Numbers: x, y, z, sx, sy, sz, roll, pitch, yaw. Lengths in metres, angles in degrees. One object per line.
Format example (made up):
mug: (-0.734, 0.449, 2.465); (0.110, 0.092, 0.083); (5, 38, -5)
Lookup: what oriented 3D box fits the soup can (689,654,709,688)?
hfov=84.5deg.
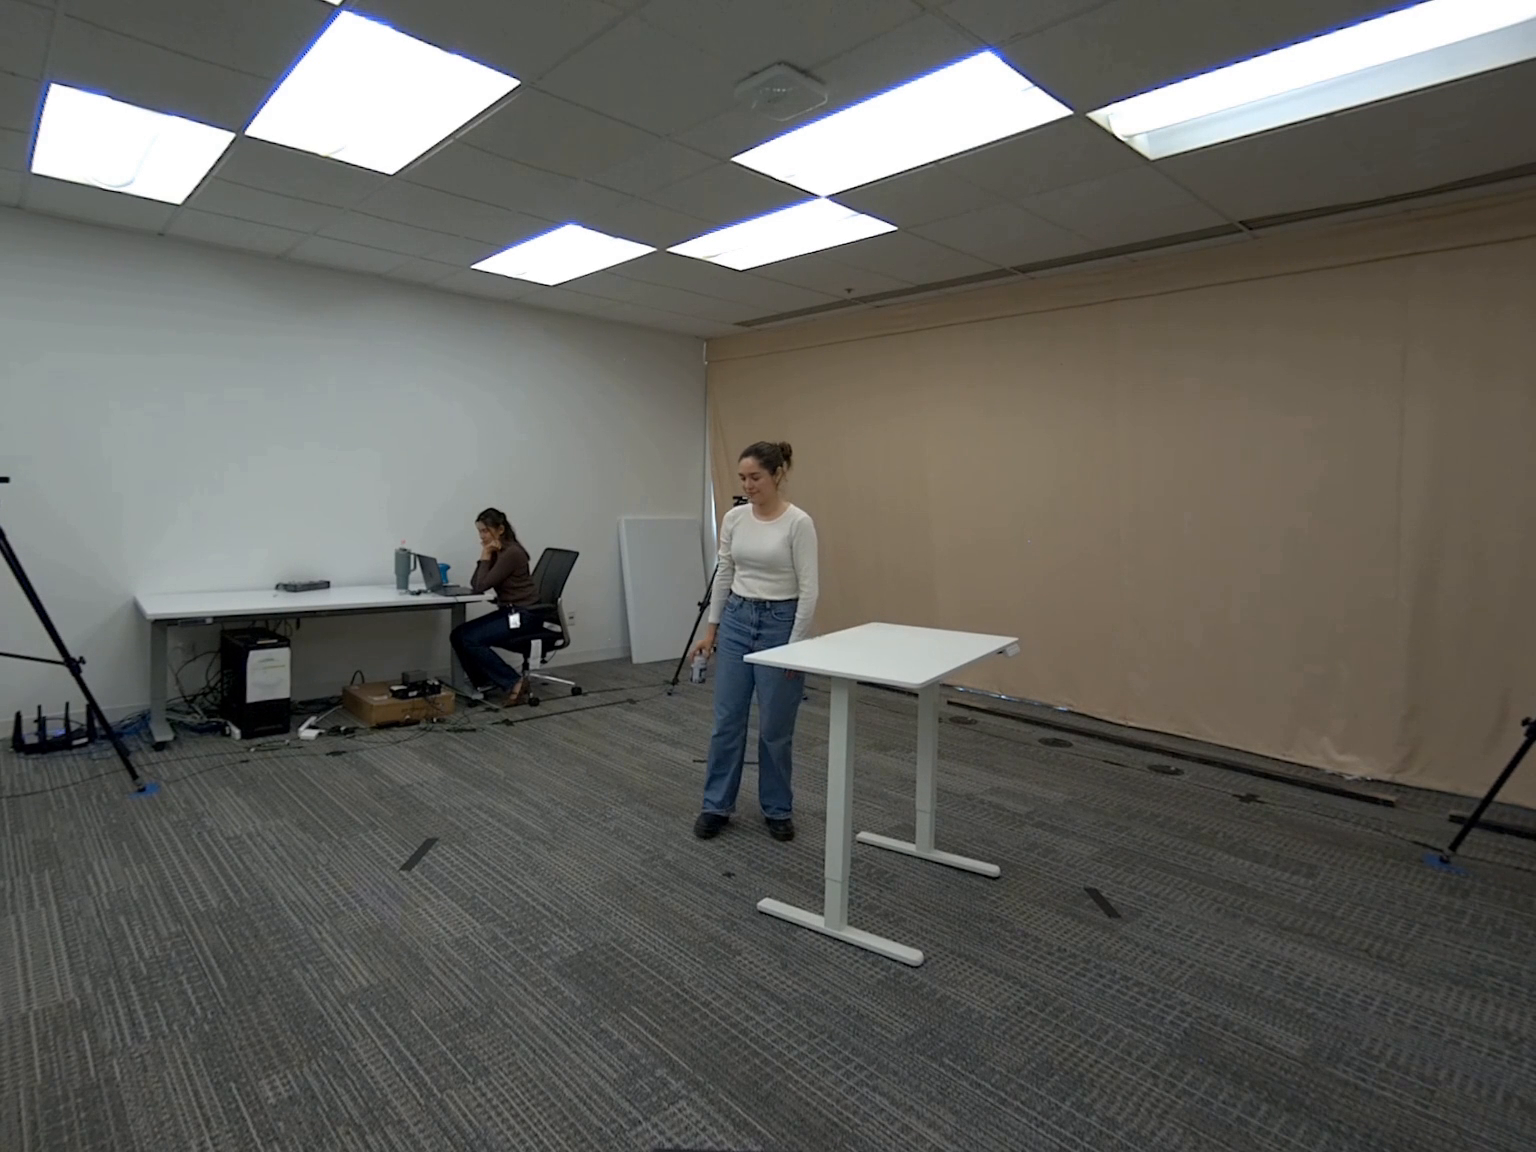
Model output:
soup can: (-0.290, 0.394, 3.540); (0.067, 0.121, 0.067); (3, 4, -2)
